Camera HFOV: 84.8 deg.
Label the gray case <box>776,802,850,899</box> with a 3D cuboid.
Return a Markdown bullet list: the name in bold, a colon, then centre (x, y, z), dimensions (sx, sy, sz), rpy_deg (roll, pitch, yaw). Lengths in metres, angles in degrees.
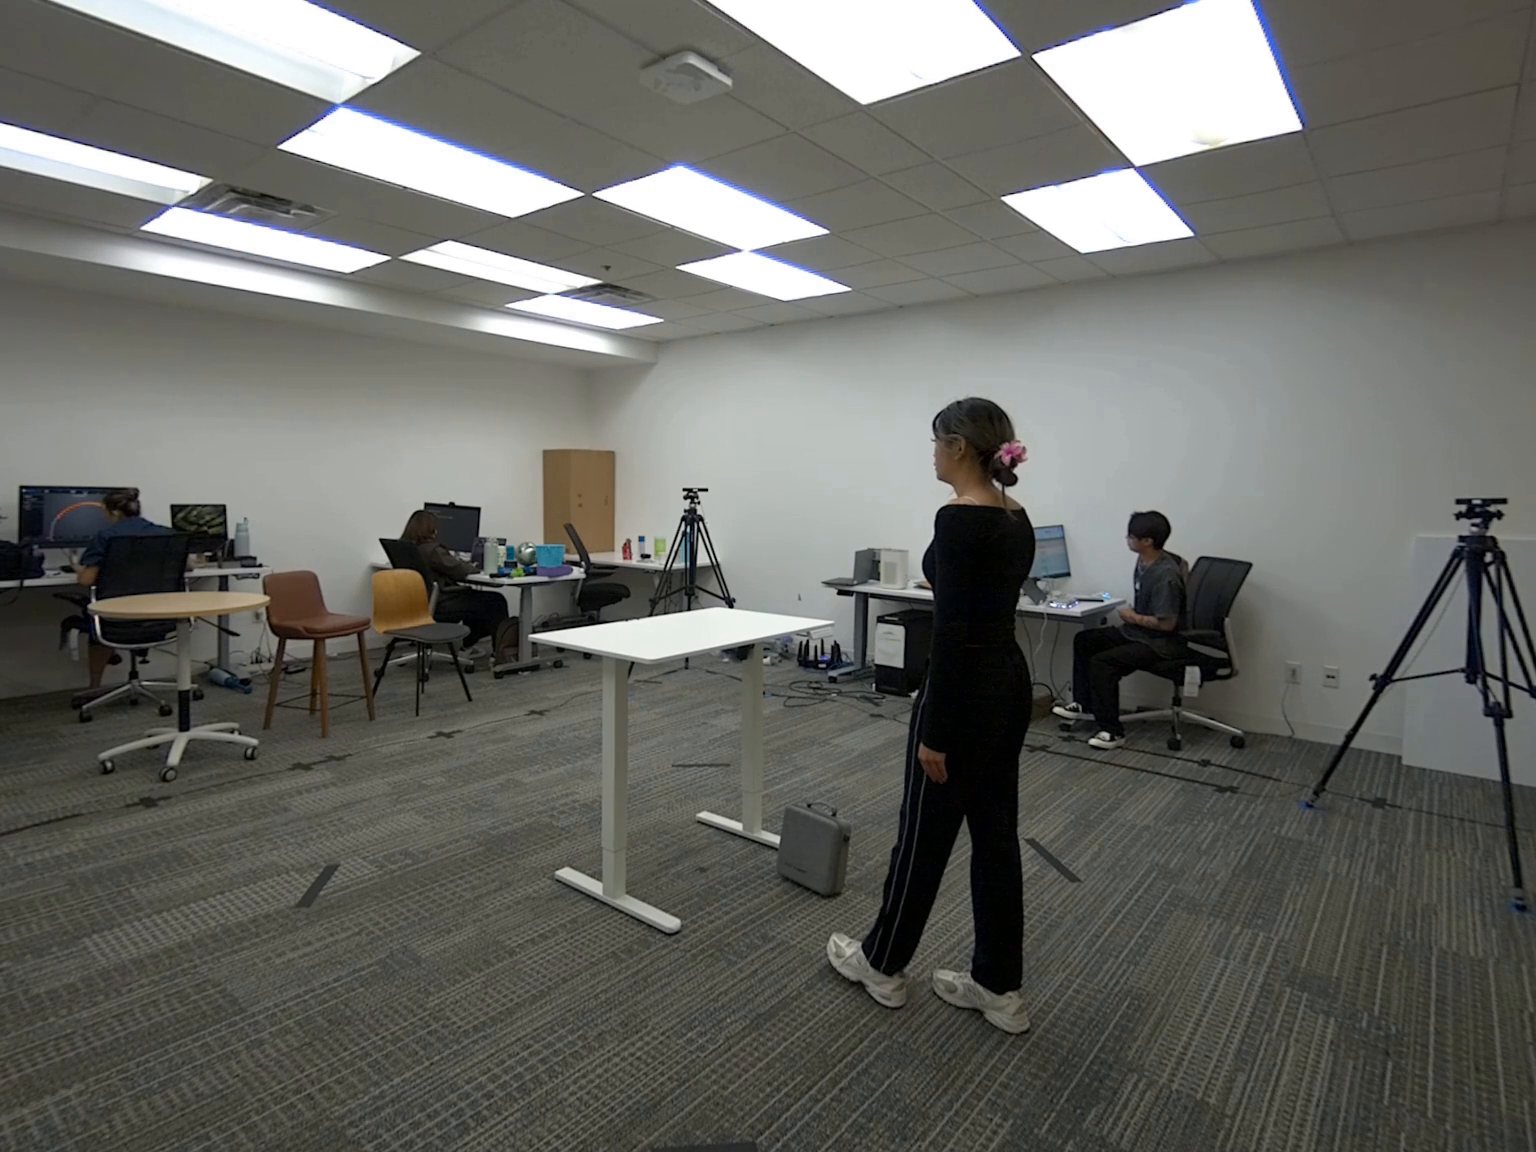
- **gray case**: centre (0.155, 0.953, 3.014), dimensions (0.100, 0.261, 0.266), rpy_deg (12, -5, -42)
